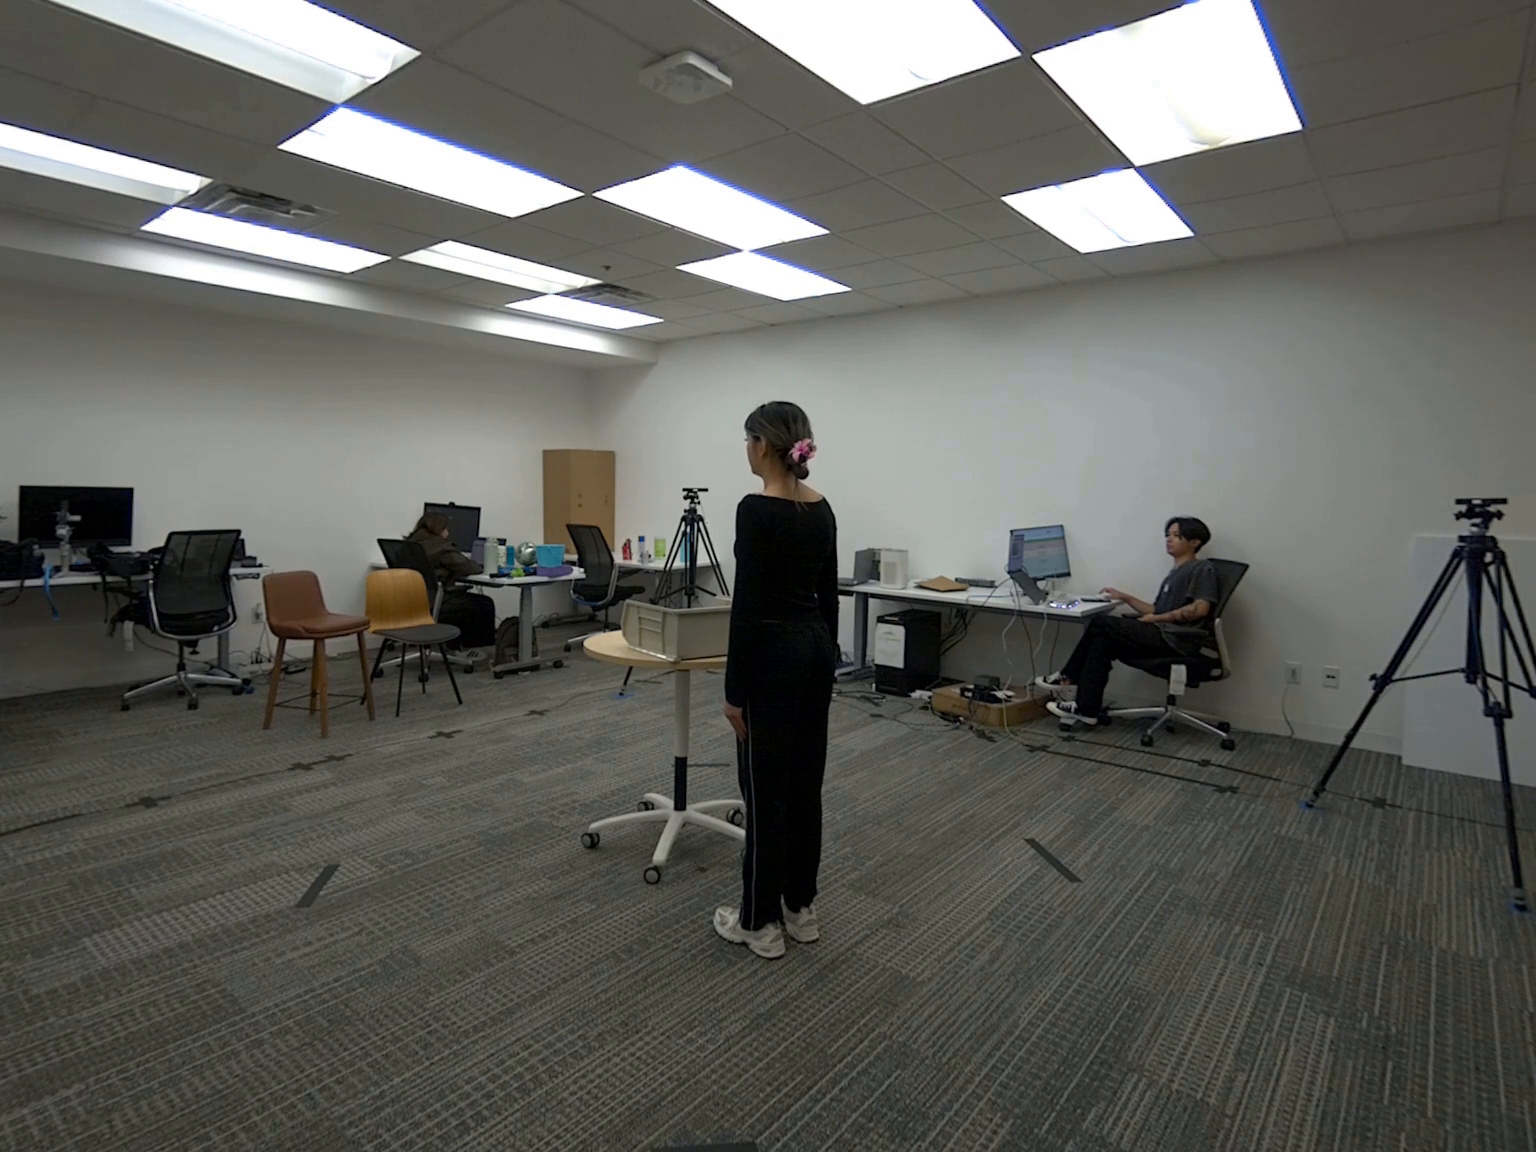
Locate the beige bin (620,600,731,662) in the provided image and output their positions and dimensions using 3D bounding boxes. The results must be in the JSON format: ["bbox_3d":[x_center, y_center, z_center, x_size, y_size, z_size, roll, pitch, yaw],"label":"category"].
[{"bbox_3d":[-0.282,0.180,3.149,0.410,0.188,0.390,-2,7,-37],"label":"beige bin"}]
